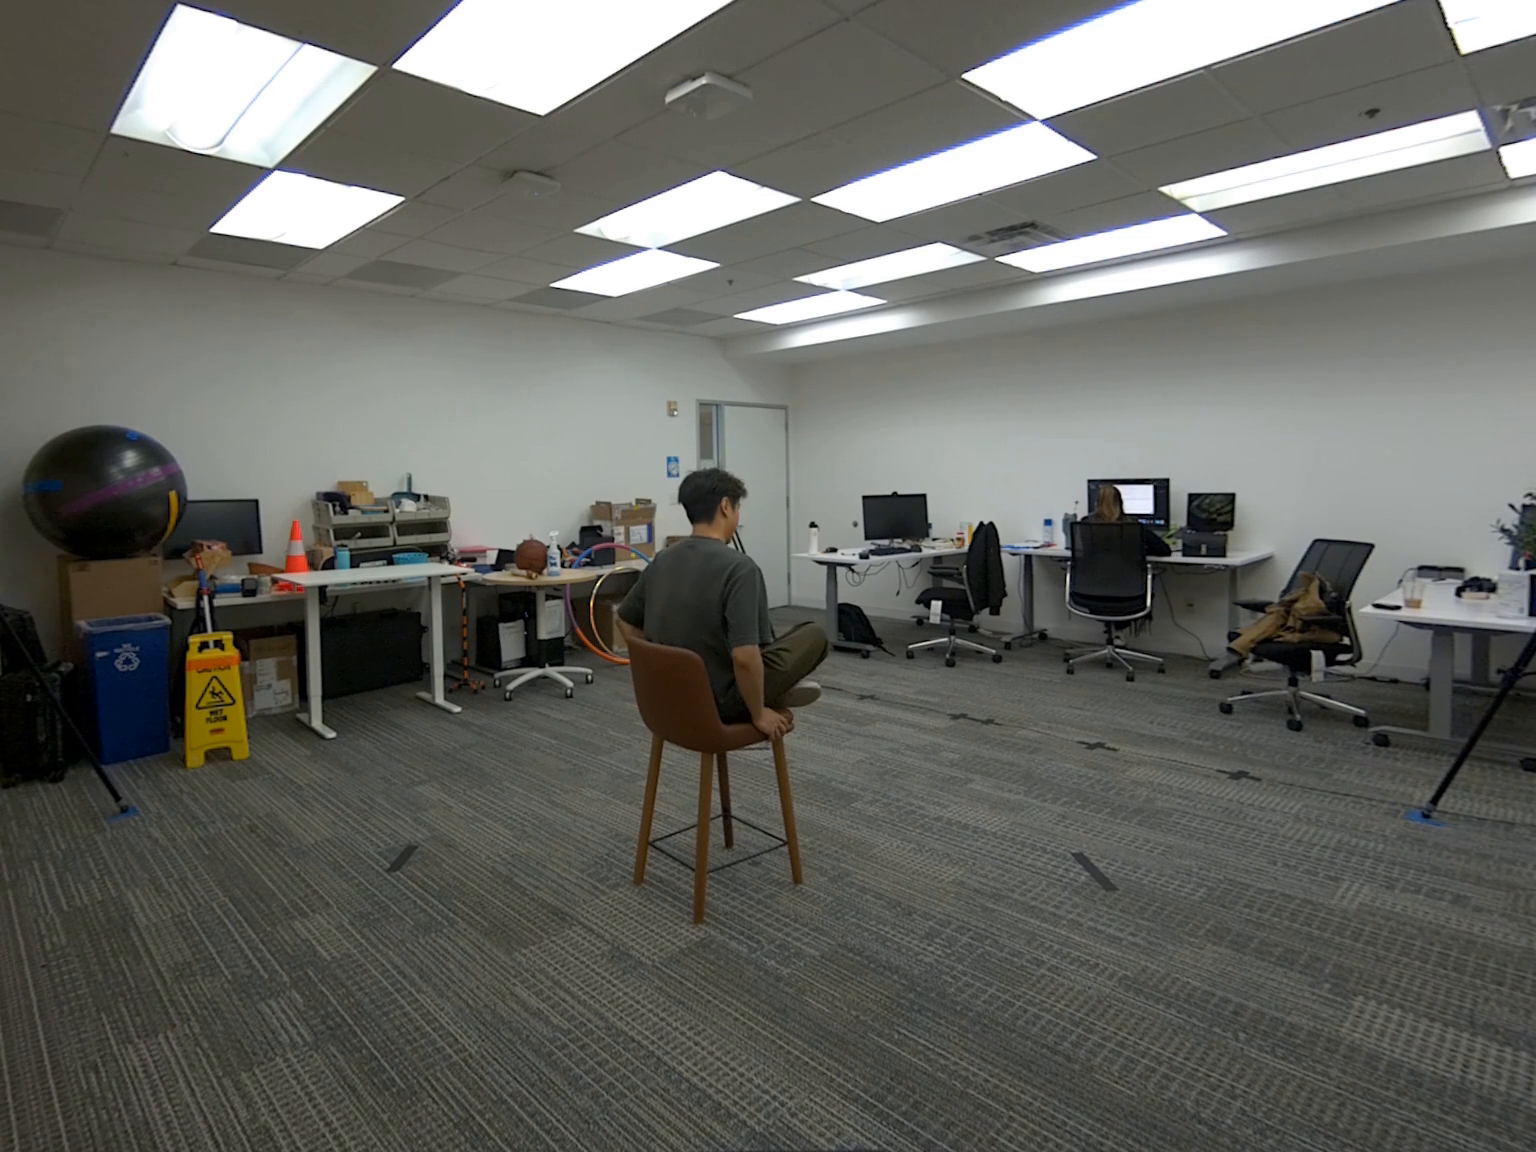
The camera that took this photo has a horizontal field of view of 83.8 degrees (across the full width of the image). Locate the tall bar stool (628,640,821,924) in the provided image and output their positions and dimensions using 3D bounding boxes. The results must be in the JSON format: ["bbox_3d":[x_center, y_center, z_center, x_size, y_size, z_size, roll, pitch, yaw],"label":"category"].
[{"bbox_3d":[-0.189,0.629,2.937,0.456,0.885,0.470,-7,8,-40],"label":"tall bar stool"}]
